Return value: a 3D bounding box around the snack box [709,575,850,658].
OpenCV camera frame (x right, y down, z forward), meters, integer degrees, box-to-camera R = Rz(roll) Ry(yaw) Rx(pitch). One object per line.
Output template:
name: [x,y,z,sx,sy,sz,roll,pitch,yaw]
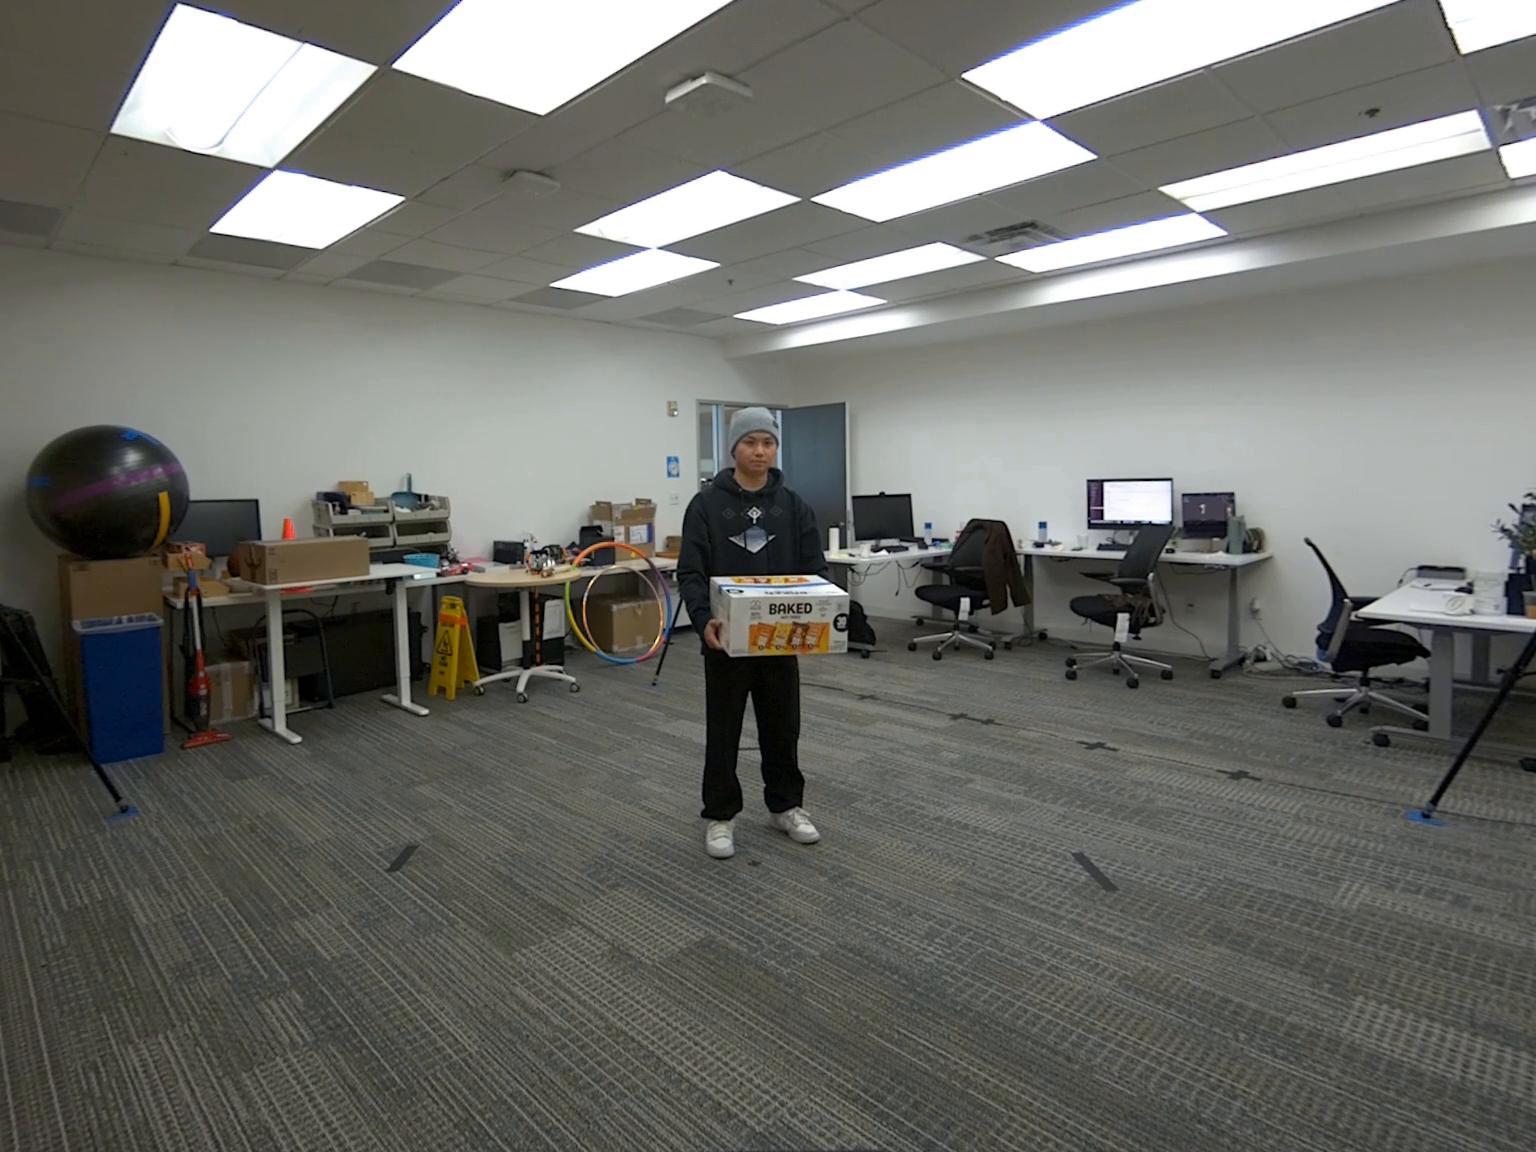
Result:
snack box: [0.029,0.132,2.946,0.401,0.204,0.346,-1,9,-11]
